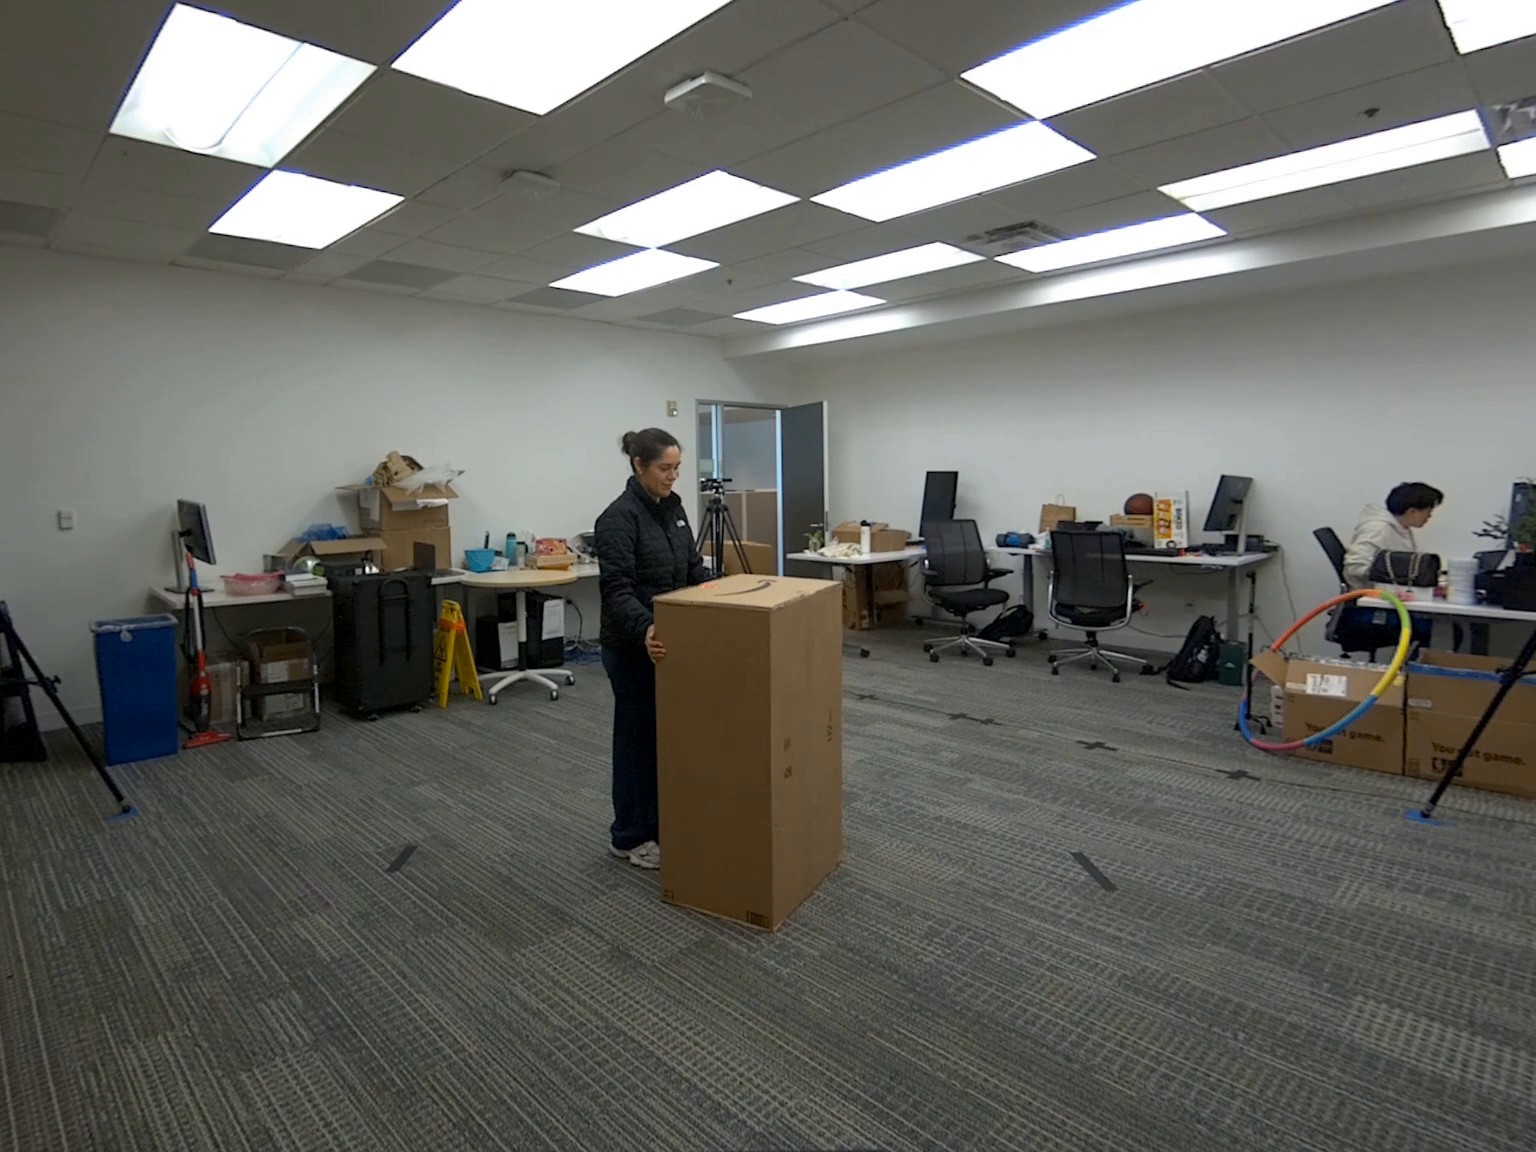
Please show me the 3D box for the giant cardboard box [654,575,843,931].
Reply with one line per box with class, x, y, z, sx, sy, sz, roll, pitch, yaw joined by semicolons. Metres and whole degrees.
giant cardboard box;-0.051;0.551;2.929;0.437;1.020;0.566;3;7;28
